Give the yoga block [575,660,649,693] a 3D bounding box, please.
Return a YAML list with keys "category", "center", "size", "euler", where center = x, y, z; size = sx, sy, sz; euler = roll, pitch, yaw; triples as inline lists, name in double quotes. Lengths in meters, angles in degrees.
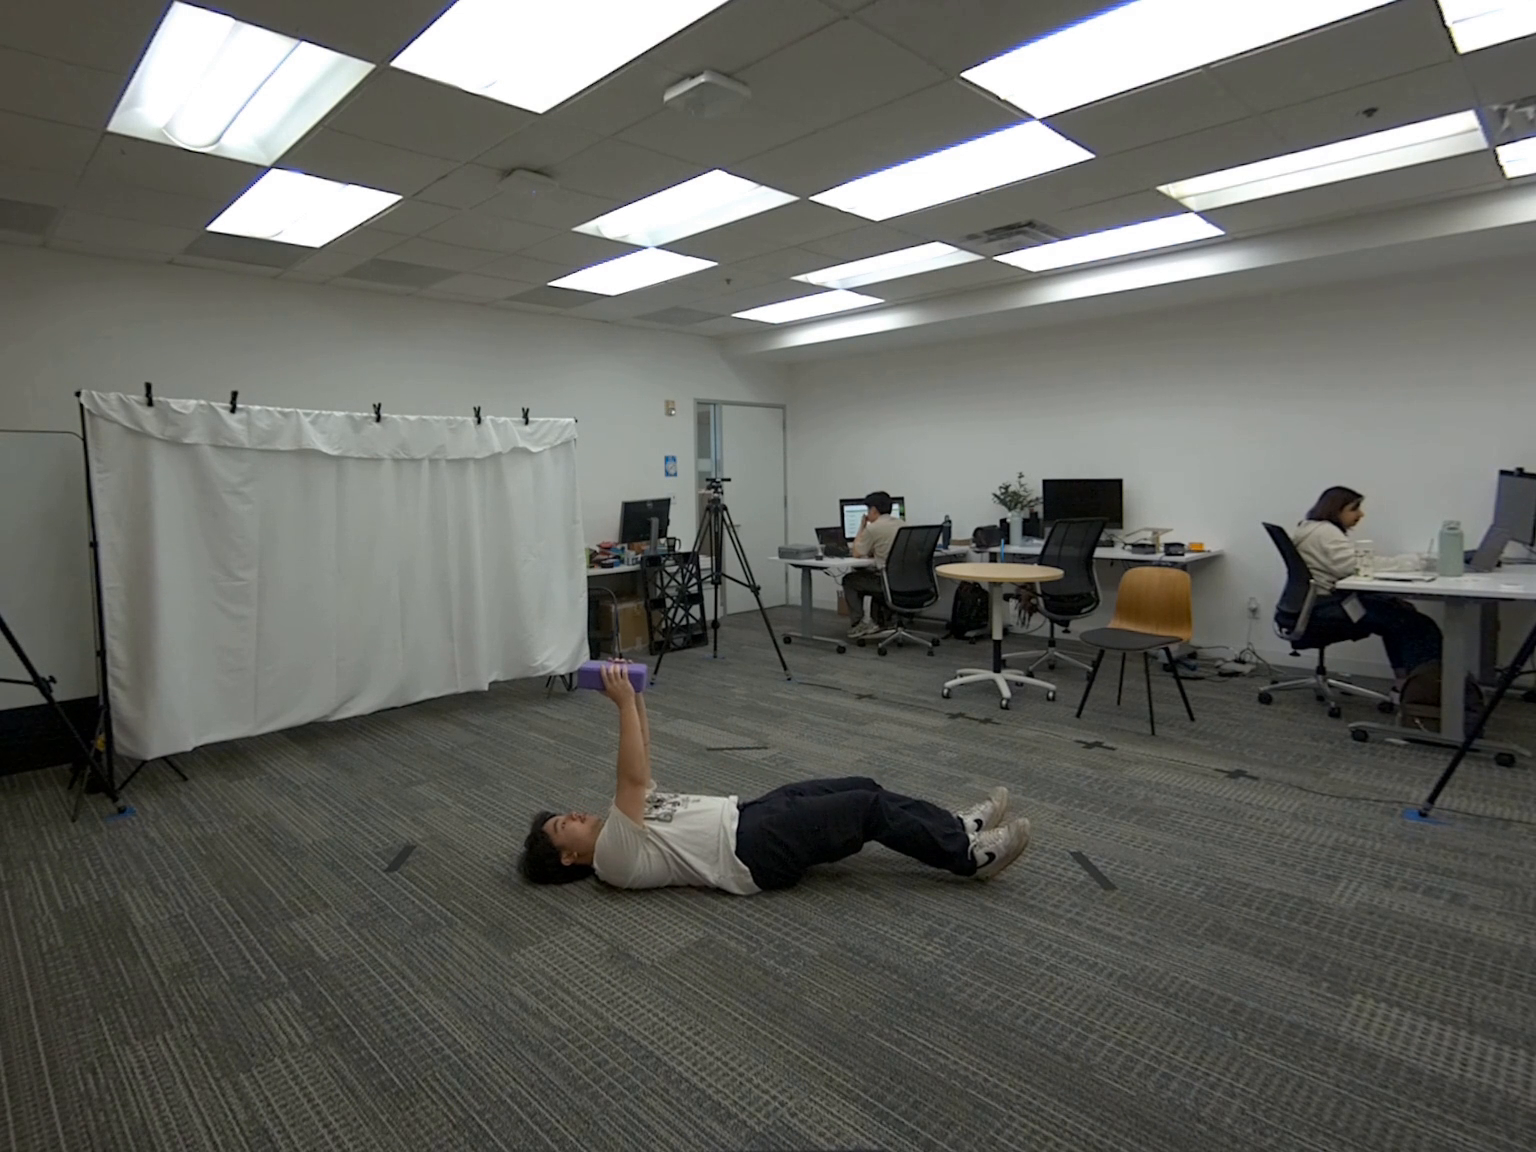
- category: "yoga block"
  center: [-0.538, 0.353, 3.010]
  size: [0.230, 0.076, 0.149]
  euler: [3, 5, 2]
